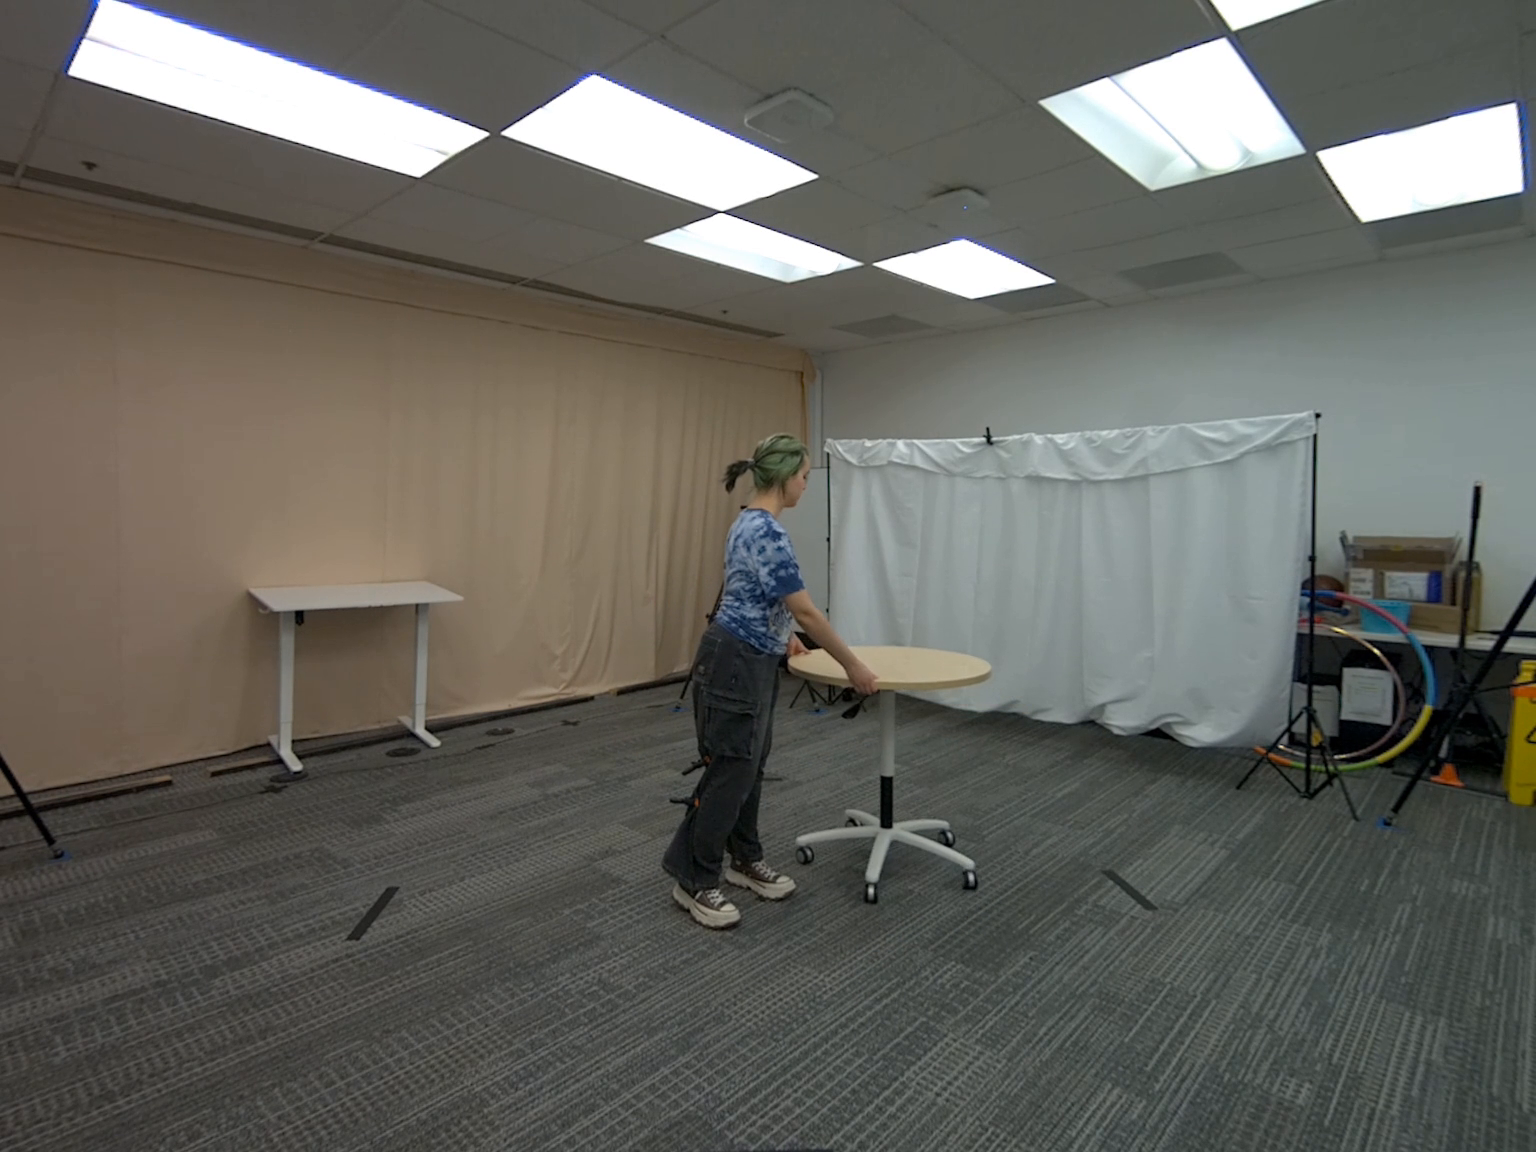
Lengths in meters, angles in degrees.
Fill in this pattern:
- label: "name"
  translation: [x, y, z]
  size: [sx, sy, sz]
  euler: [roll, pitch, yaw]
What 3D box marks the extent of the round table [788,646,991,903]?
- label: "round table"
  translation: [0.458, 0.727, 3.262]
  size: [0.763, 0.793, 0.766]
  euler: [0, 3, -2]
